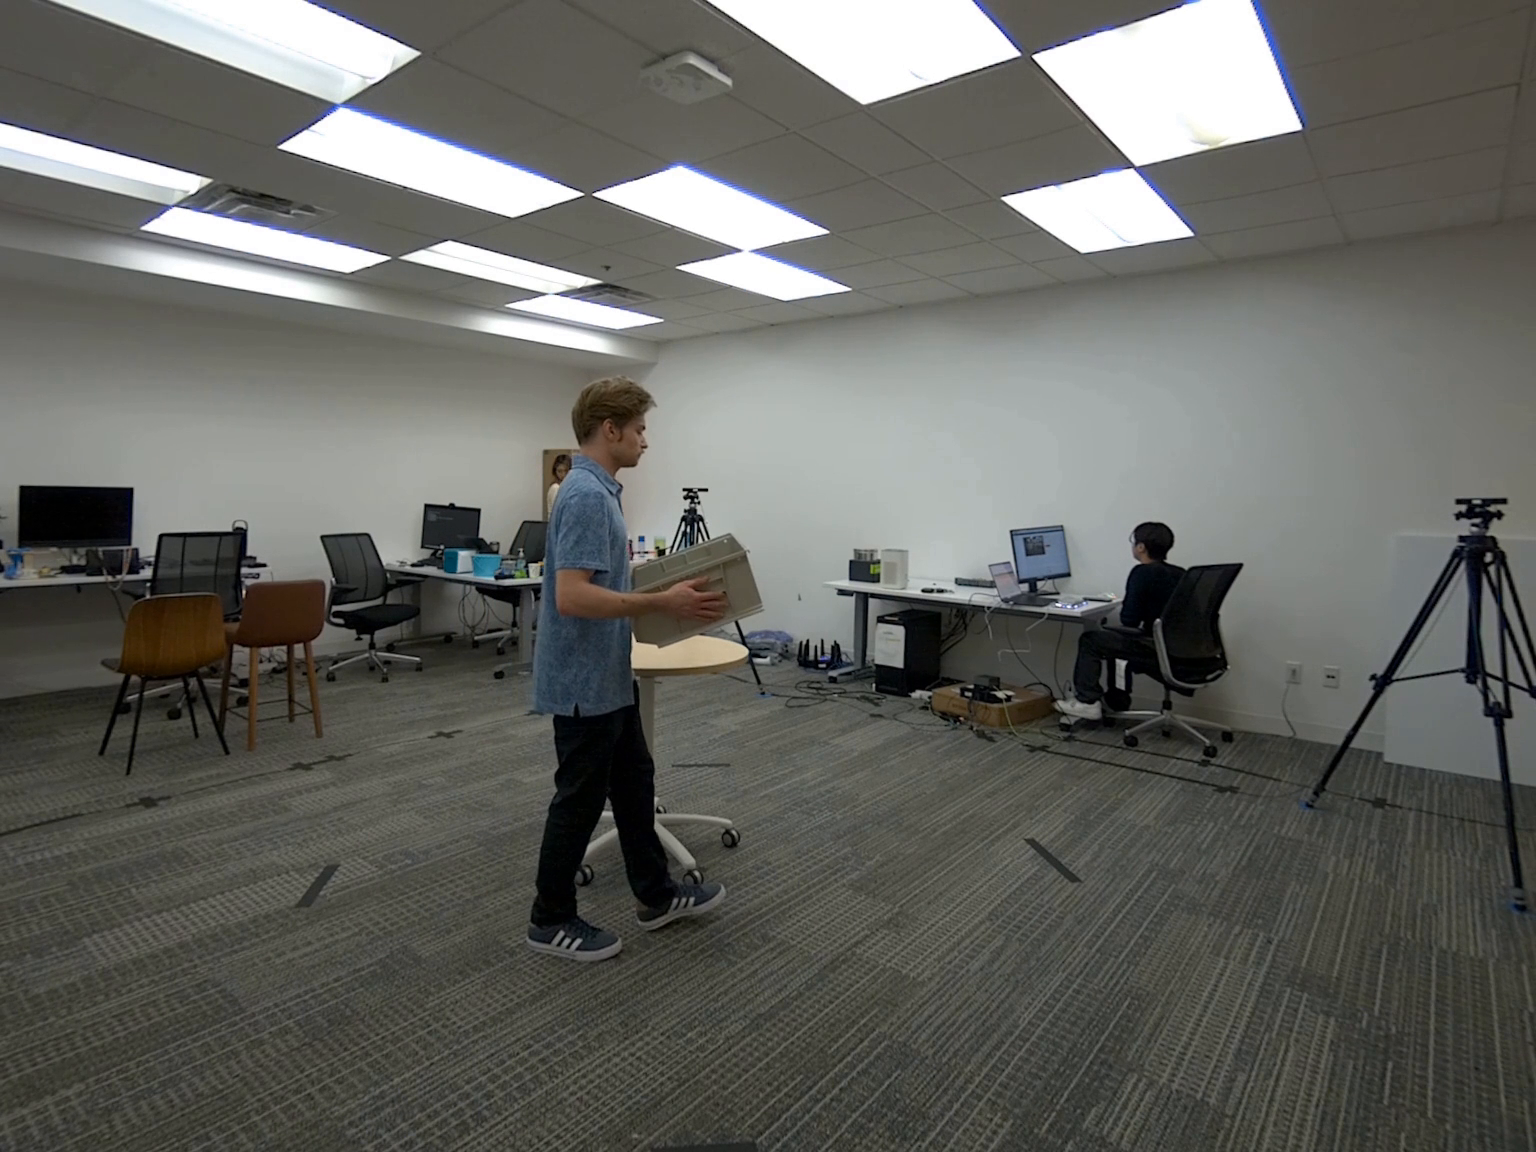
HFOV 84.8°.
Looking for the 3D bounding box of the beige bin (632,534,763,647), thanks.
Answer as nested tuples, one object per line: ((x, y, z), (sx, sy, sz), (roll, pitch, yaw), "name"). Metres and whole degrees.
((-0.247, 0.045, 2.531), (0.377, 0.187, 0.428), (-19, 11, -2), "beige bin")
